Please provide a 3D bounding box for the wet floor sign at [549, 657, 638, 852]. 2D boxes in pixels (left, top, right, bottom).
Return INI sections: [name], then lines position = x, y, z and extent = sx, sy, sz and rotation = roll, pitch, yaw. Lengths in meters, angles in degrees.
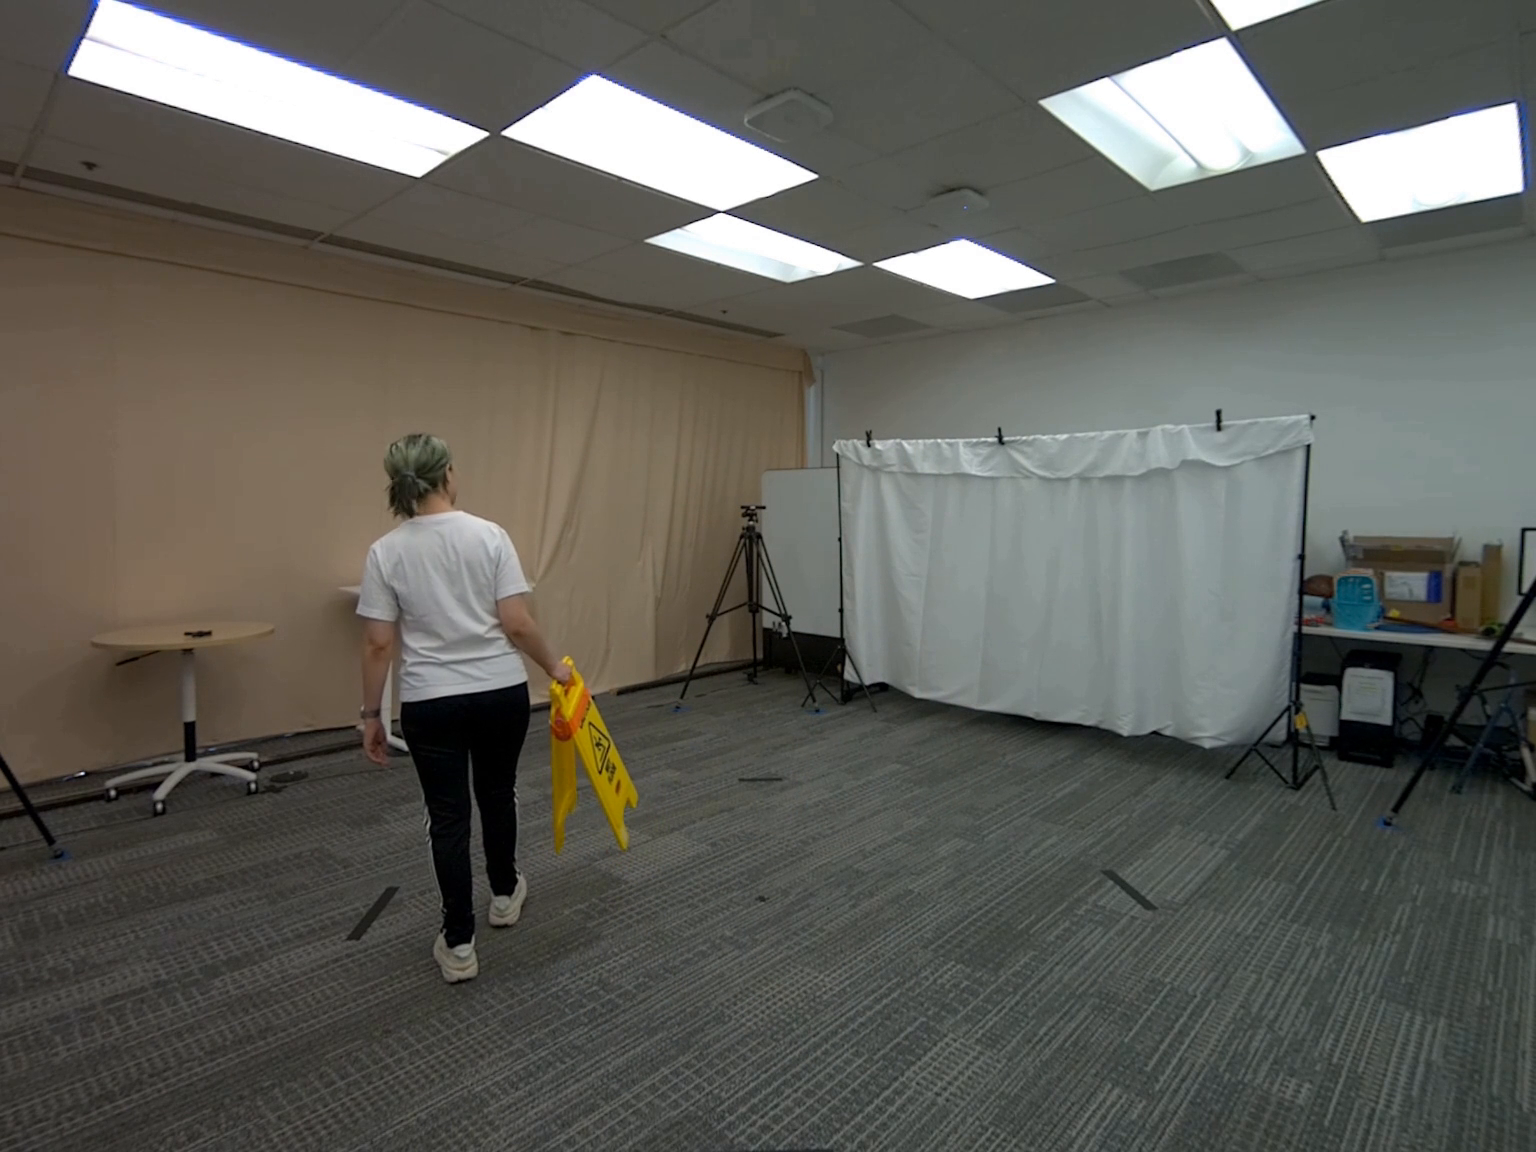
[wet floor sign]
position = -0.650, 0.606, 2.876
extent = 0.291, 0.636, 0.285
rotation = -4, 21, 3
